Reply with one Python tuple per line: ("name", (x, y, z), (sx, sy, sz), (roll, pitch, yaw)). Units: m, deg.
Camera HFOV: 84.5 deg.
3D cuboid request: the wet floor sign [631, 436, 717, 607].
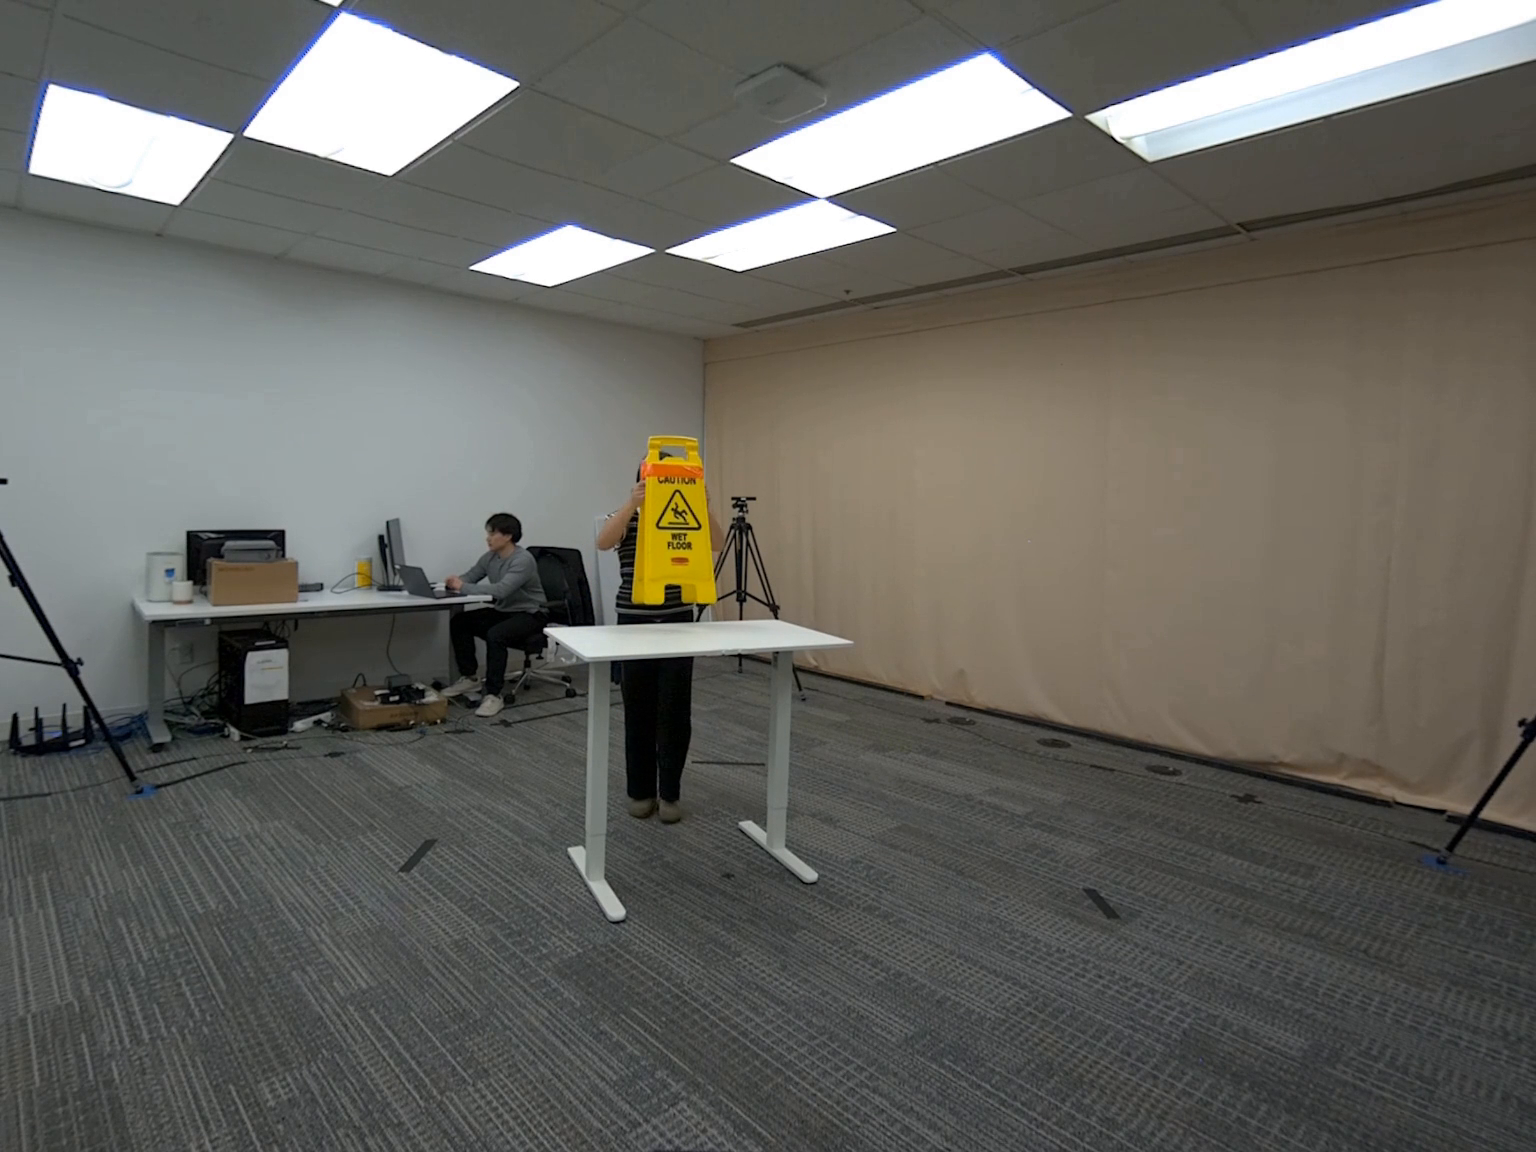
("wet floor sign", (-0.380, -0.218, 3.280), (0.278, 0.647, 0.293), (1, -2, -18))
